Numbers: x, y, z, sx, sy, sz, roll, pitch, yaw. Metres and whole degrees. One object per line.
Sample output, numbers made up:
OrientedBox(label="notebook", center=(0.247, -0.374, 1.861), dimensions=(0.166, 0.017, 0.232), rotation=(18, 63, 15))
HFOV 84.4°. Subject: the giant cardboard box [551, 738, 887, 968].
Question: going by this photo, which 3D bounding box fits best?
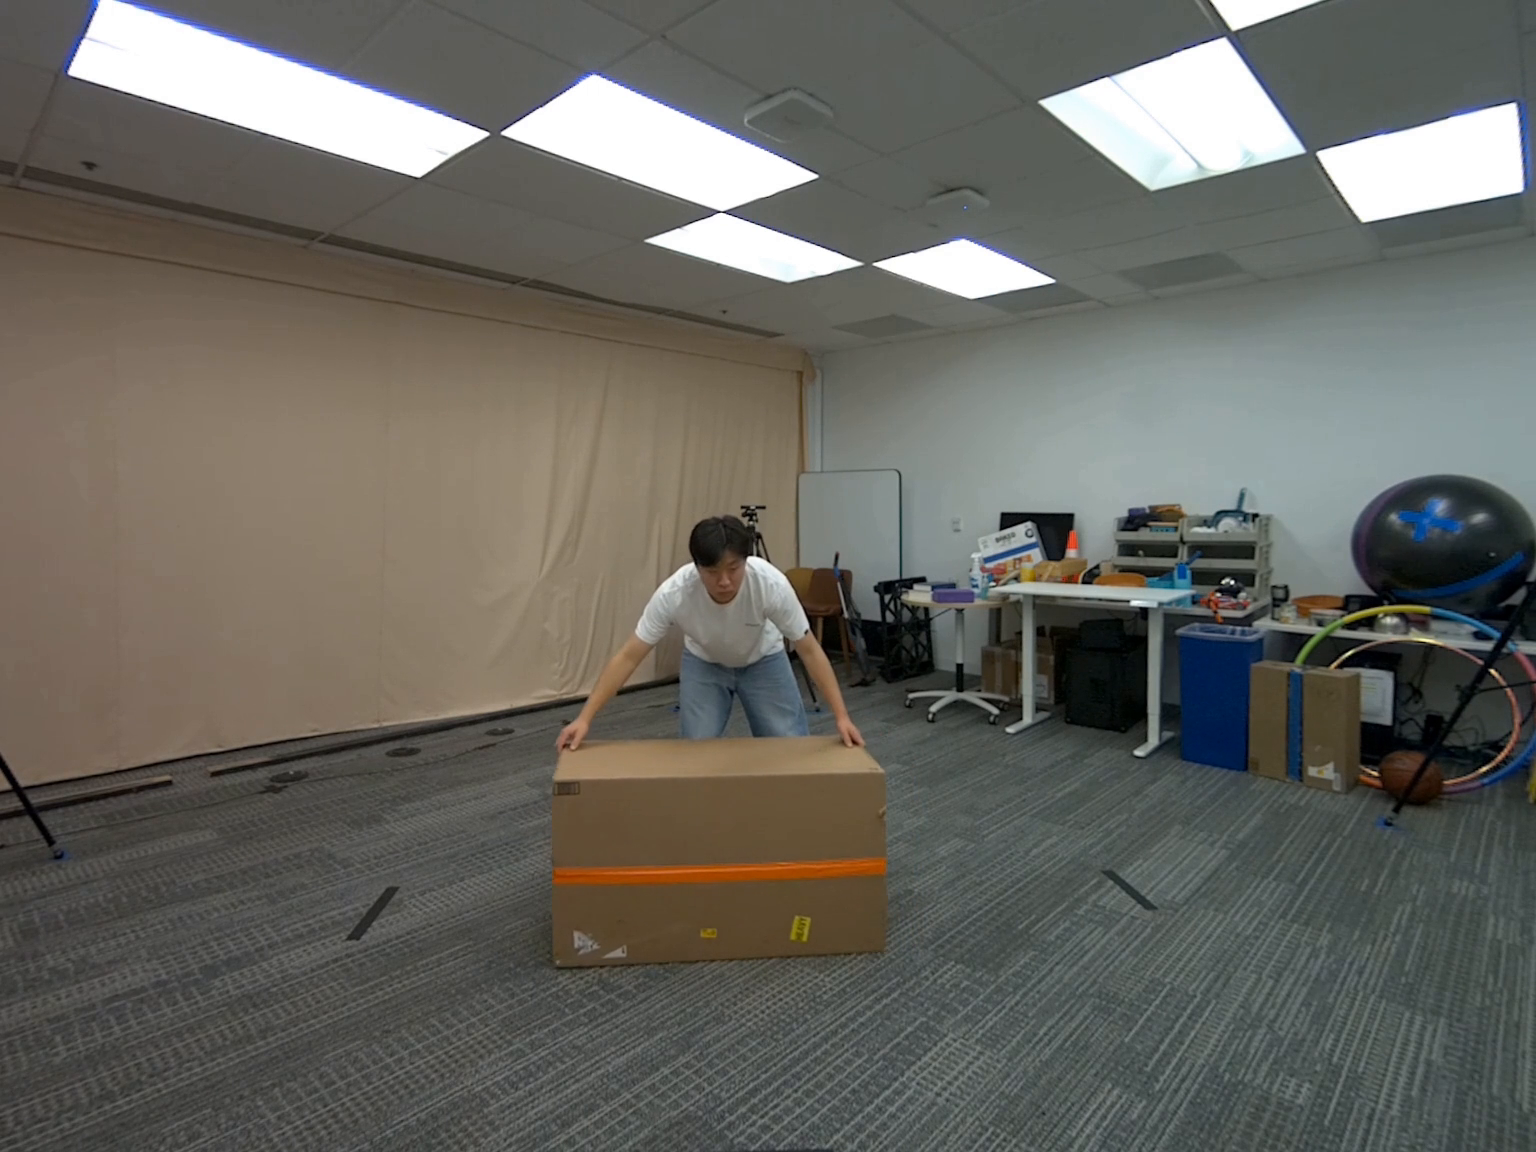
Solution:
OrientedBox(label="giant cardboard box", center=(-0.173, 0.865, 2.756), dimensions=(1.020, 0.576, 0.430), rotation=(0, 3, -6))
